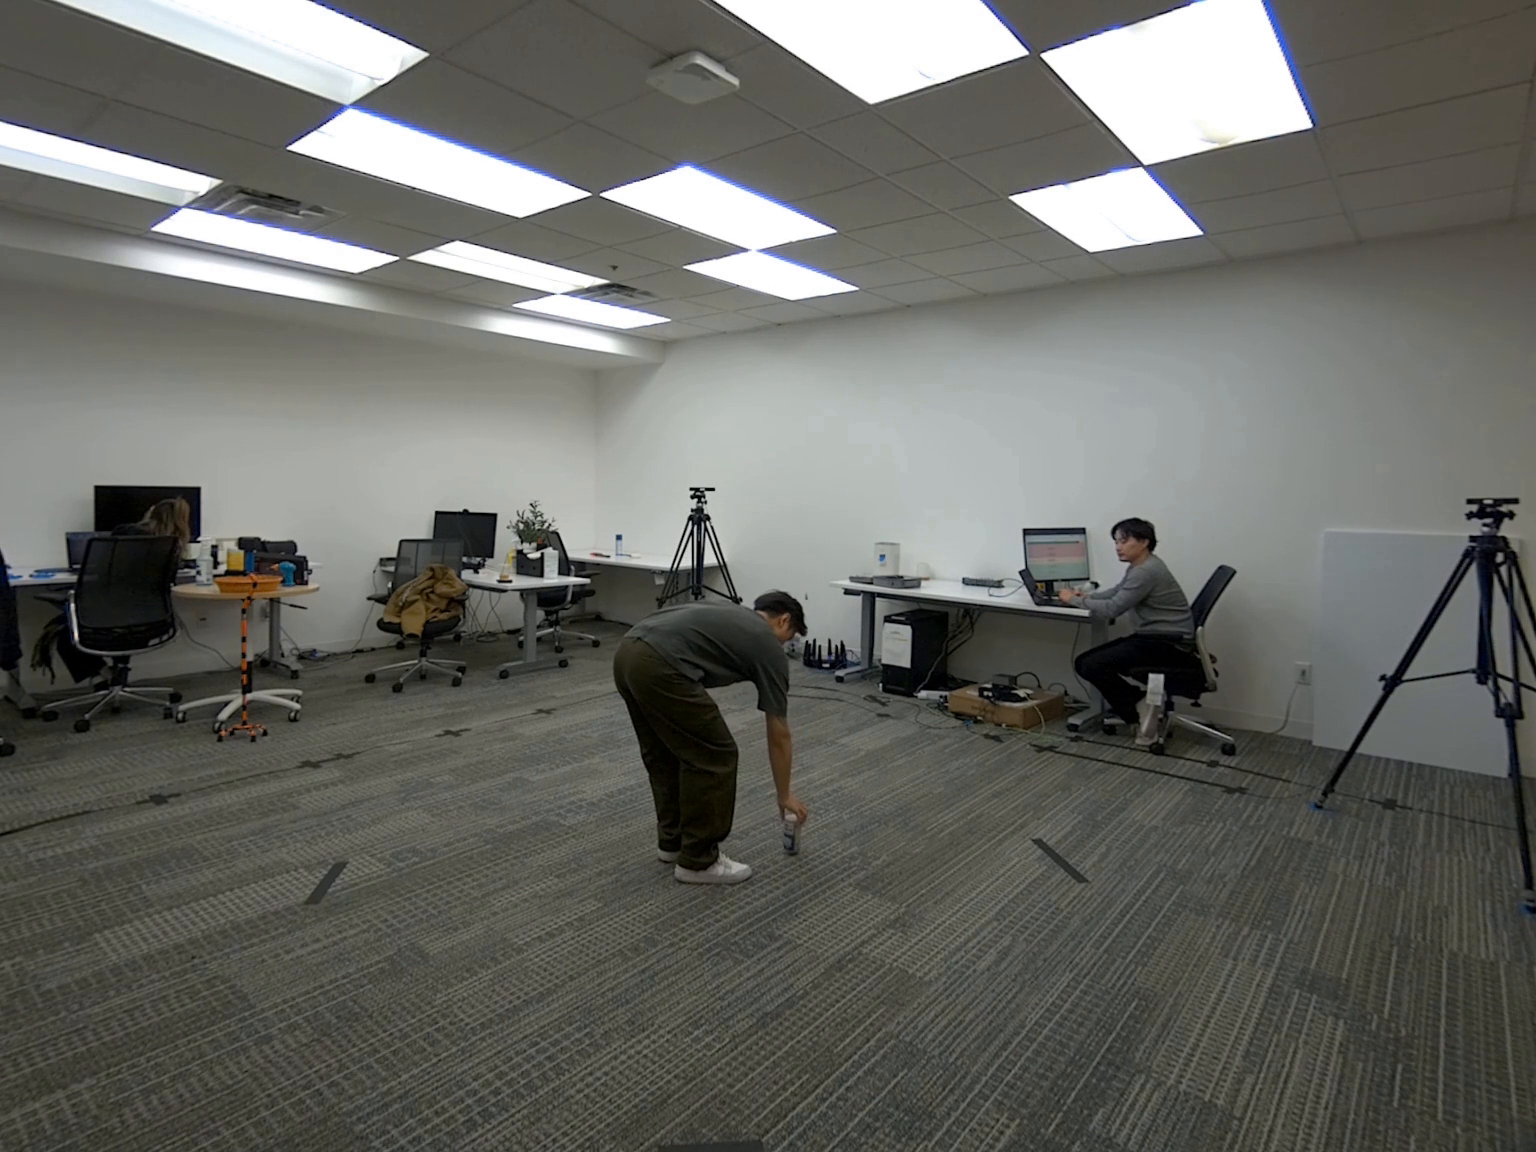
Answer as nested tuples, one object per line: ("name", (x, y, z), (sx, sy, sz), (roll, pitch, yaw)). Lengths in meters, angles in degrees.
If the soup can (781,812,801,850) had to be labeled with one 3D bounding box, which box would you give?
("soup can", (0.082, 0.955, 3.260), (0.067, 0.121, 0.068), (1, 7, -2))
